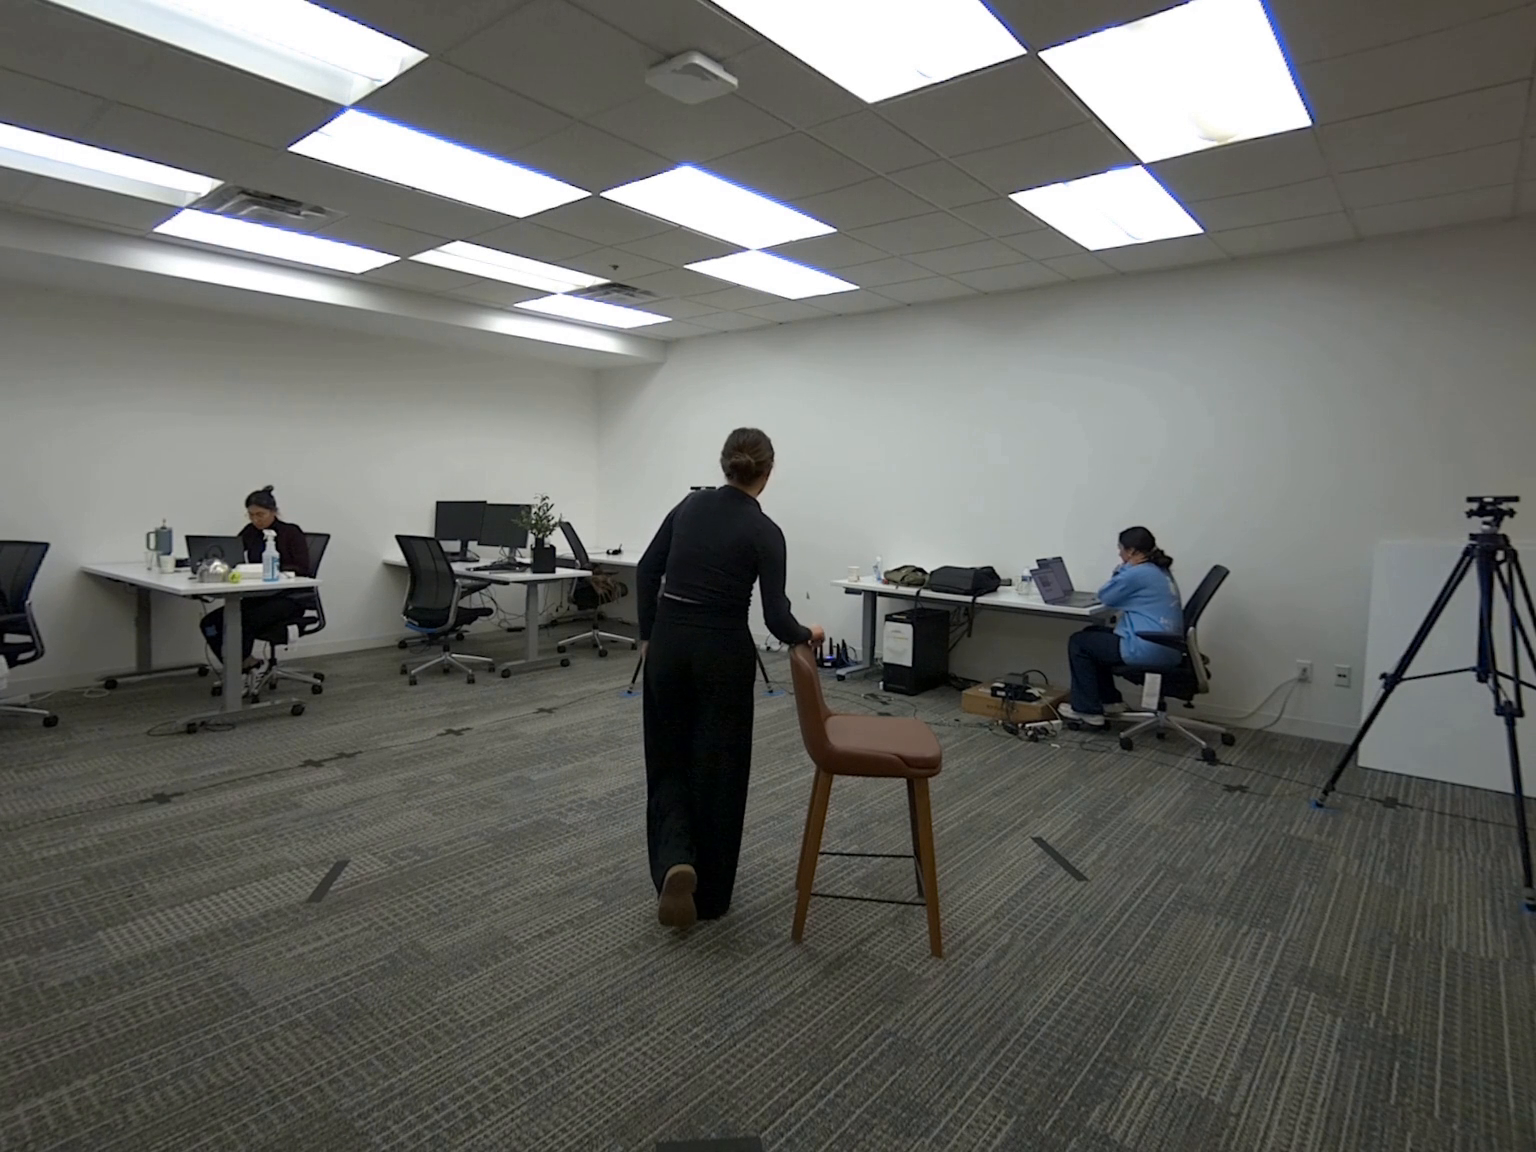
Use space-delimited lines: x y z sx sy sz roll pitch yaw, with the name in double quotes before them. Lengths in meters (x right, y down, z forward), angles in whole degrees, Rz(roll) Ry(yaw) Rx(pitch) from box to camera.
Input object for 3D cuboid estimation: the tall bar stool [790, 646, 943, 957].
"tall bar stool" 0.307 0.678 2.743 0.471 0.887 0.454 0 3 6
